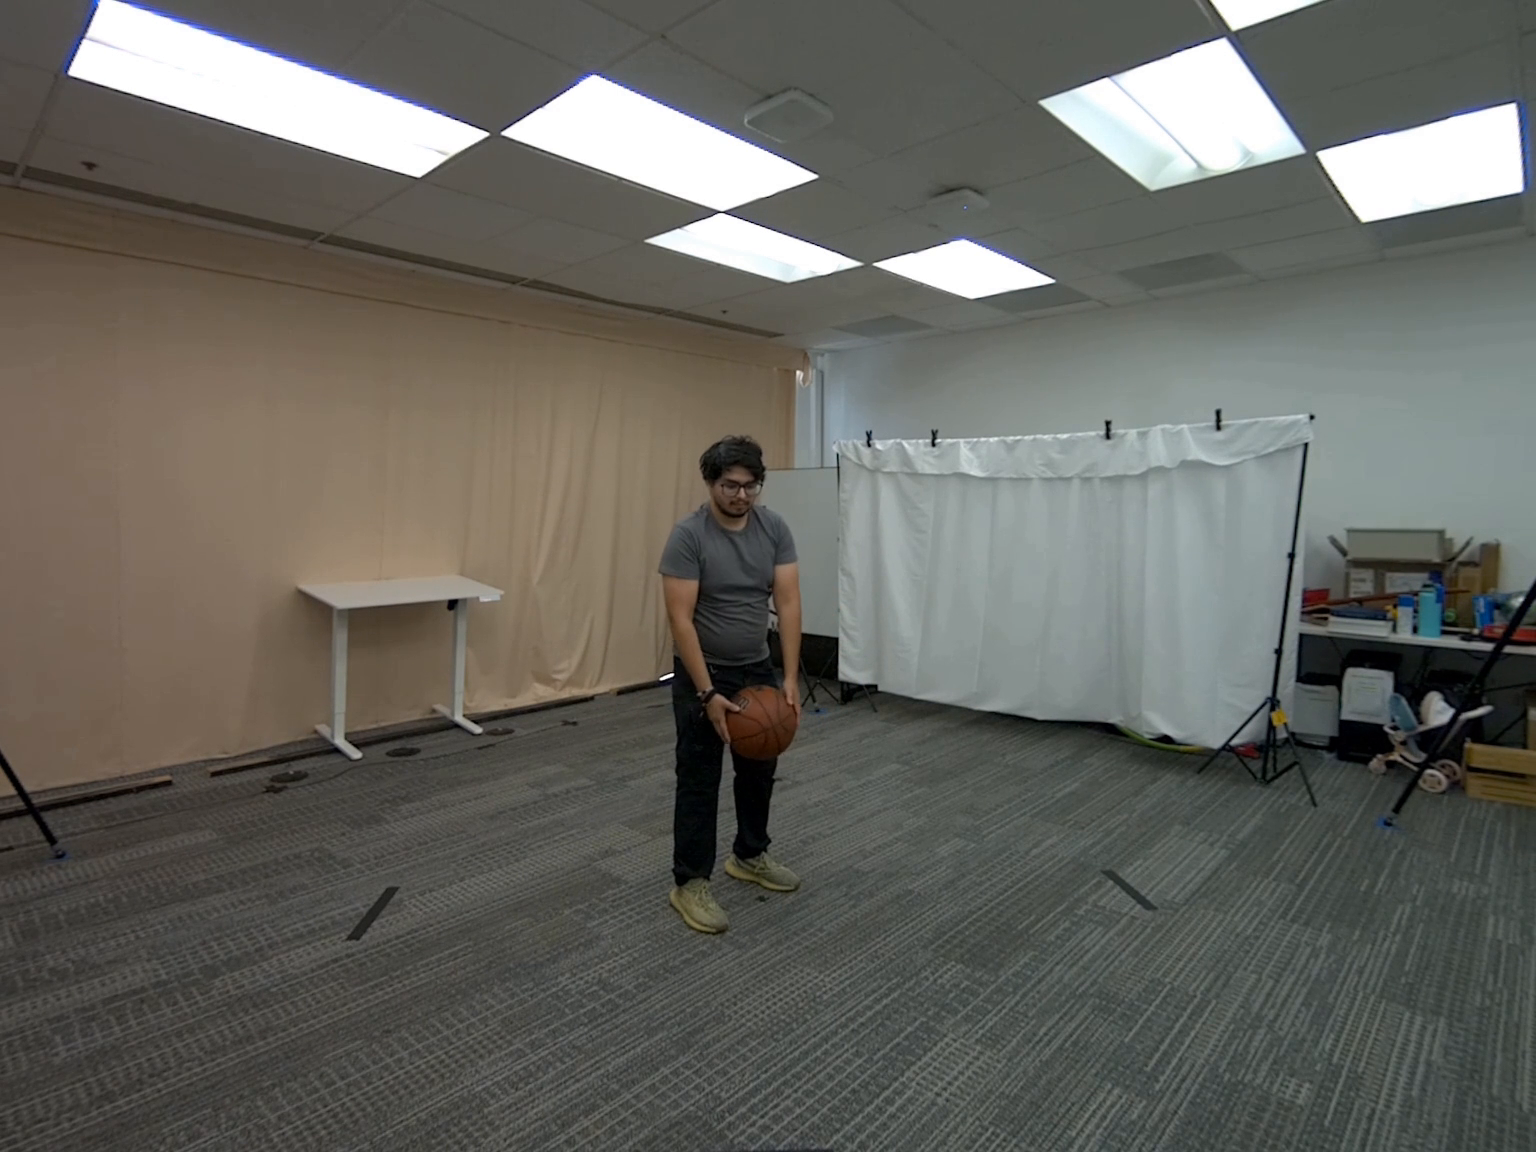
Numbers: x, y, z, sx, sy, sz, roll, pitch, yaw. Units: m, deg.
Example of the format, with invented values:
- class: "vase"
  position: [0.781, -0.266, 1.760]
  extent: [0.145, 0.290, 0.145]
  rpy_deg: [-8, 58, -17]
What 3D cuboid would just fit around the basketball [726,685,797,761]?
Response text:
- class: "basketball"
  position: [-0.023, 0.471, 2.735]
  extent: [0.236, 0.235, 0.237]
  rpy_deg: [0, 4, -2]
